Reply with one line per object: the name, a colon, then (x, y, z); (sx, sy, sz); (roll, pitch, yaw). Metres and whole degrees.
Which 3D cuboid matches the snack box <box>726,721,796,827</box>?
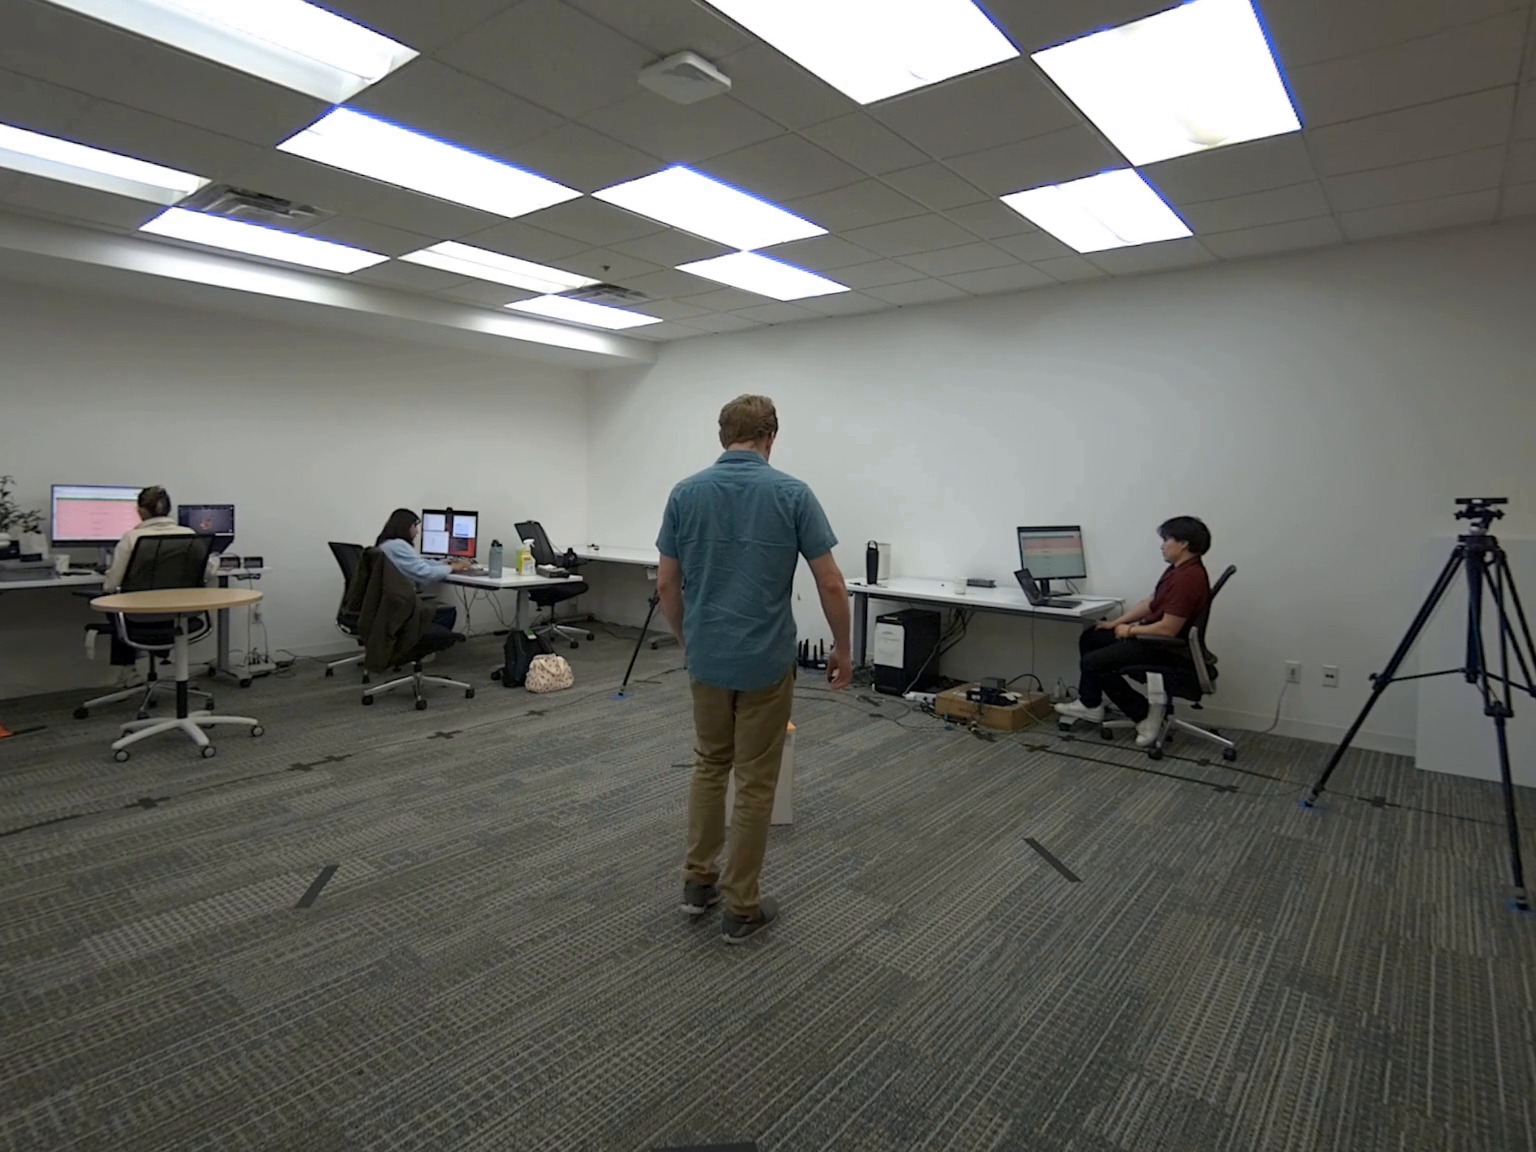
snack box: (-0.083, 0.819, 3.594); (0.337, 0.404, 0.208); (1, 2, -10)
